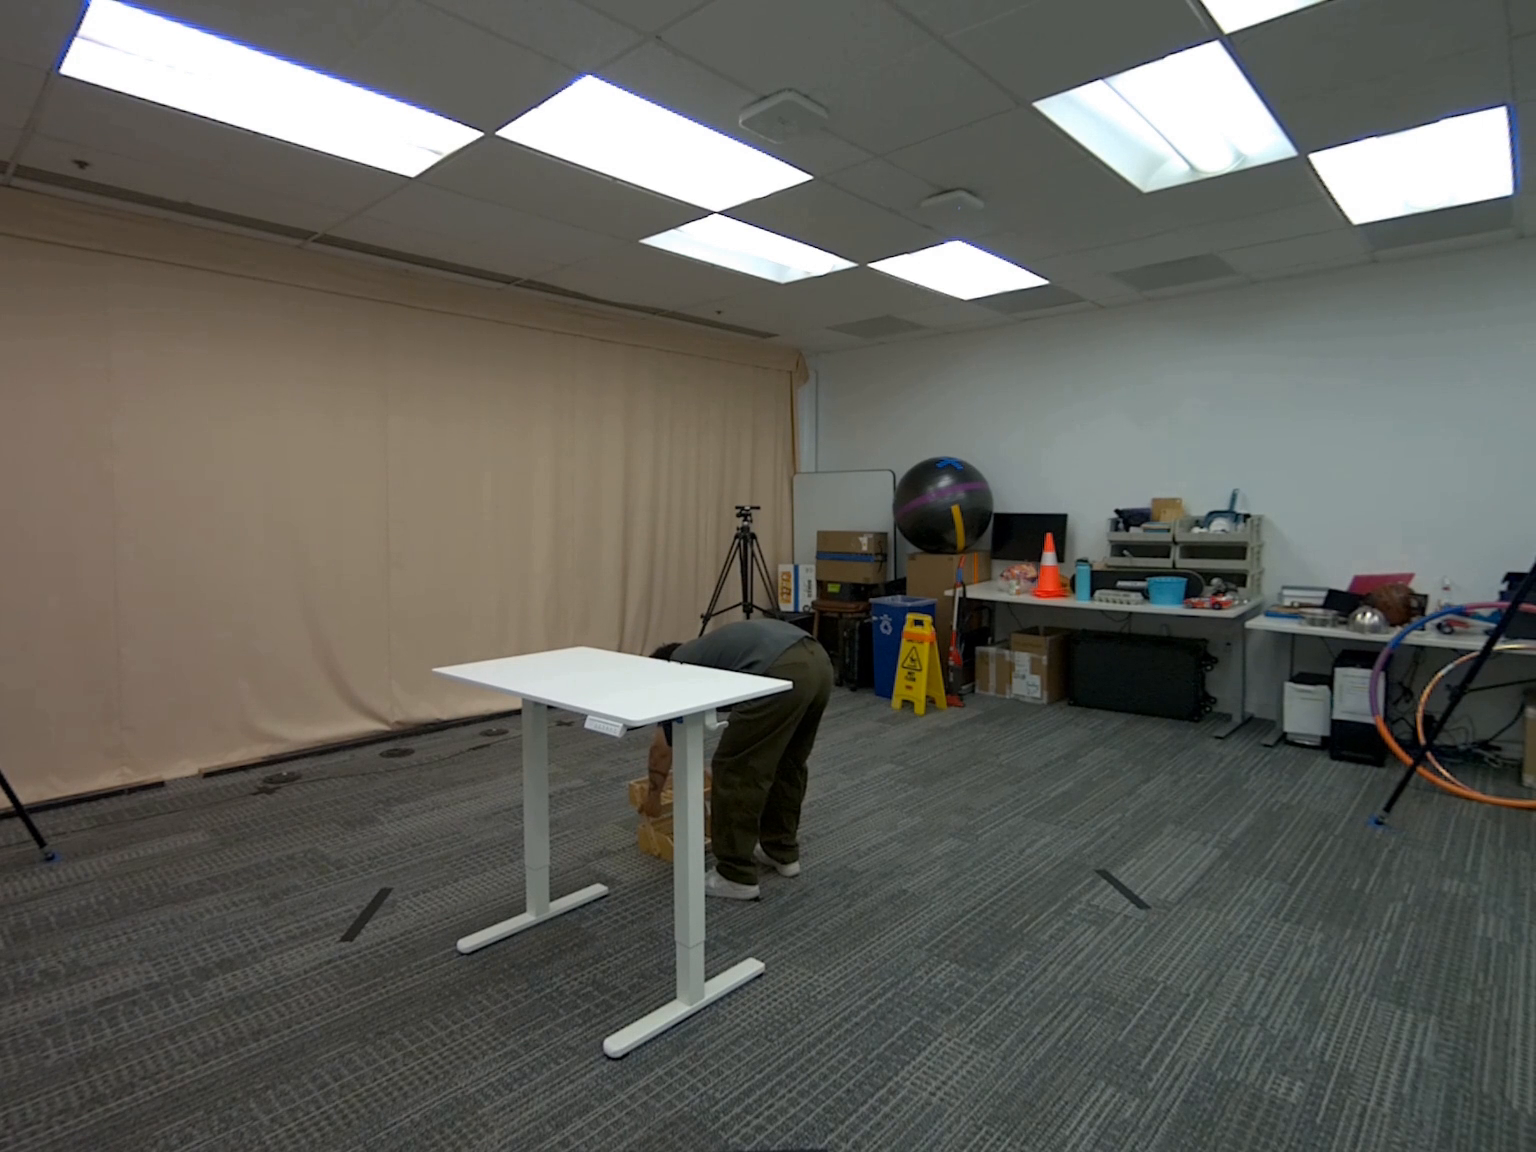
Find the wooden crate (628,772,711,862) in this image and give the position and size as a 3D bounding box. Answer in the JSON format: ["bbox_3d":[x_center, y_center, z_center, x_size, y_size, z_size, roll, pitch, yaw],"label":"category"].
[{"bbox_3d":[-0.362,0.973,3.463,0.312,0.273,0.314,1,4,44],"label":"wooden crate"}]
